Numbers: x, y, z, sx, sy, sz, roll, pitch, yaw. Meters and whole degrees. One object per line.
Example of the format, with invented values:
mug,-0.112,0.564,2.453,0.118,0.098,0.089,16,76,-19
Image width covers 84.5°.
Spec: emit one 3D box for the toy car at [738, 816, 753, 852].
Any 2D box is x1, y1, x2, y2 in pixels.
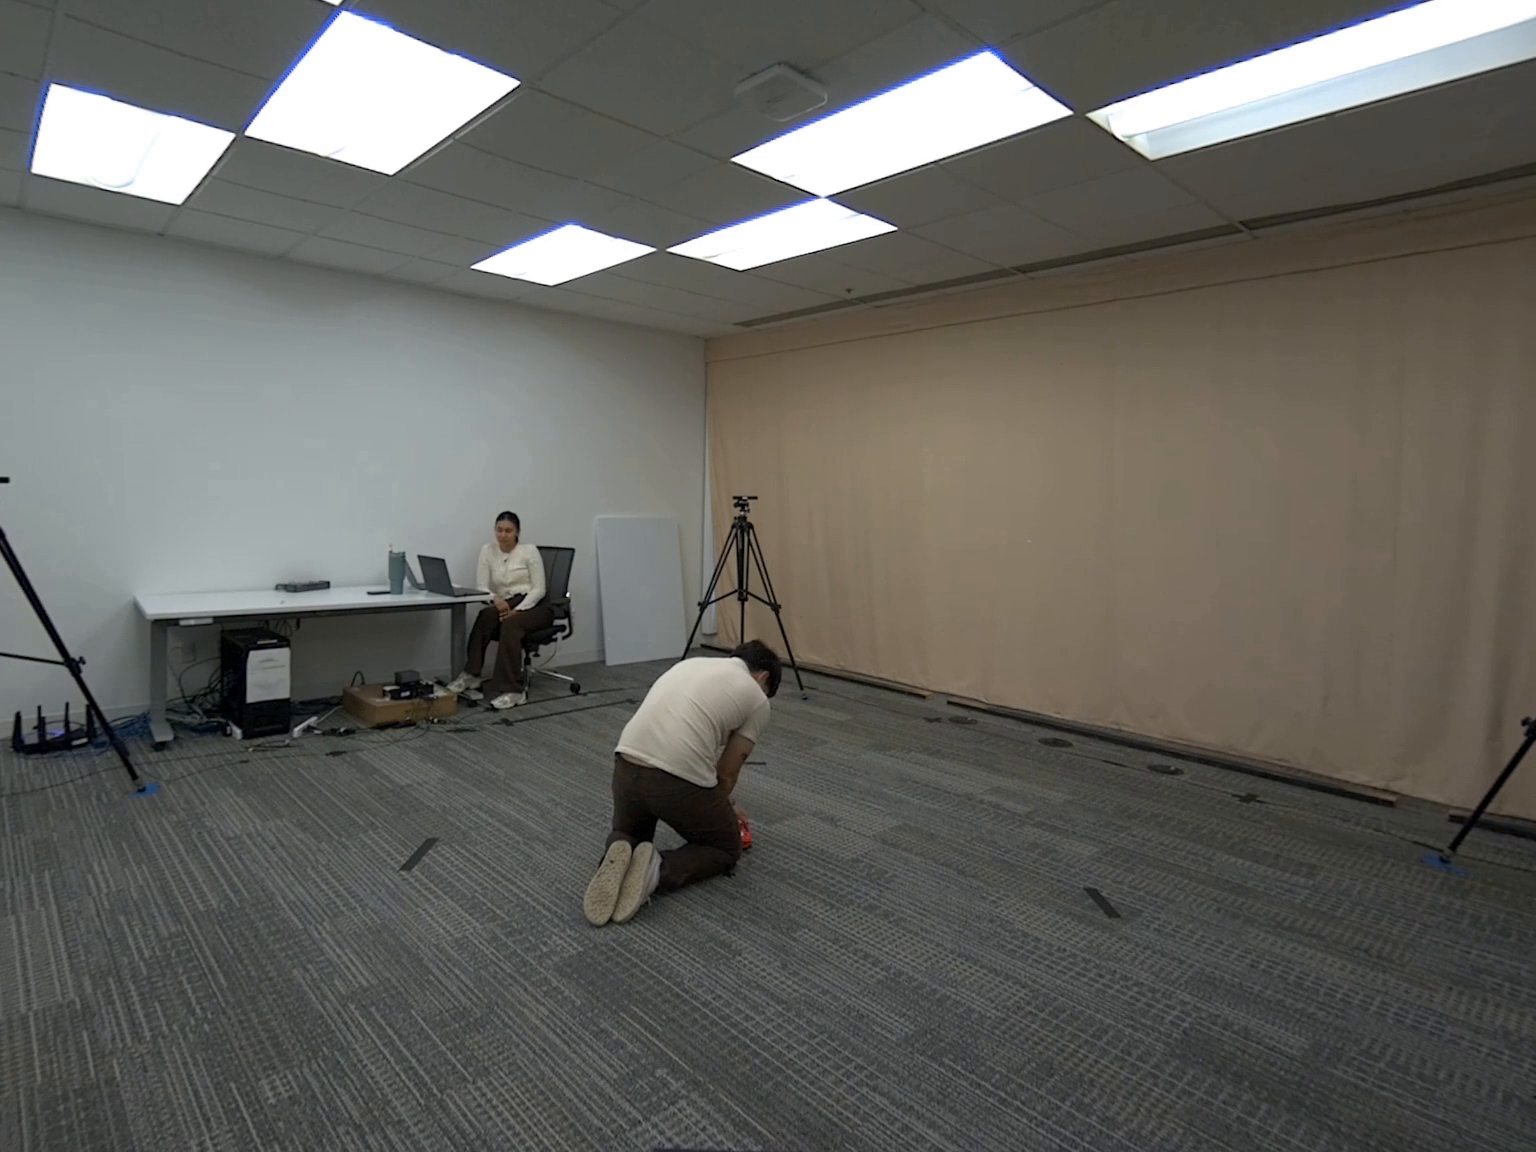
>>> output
toy car,-0.143,1.049,3.402,0.129,0.083,0.255,0,-6,-9
